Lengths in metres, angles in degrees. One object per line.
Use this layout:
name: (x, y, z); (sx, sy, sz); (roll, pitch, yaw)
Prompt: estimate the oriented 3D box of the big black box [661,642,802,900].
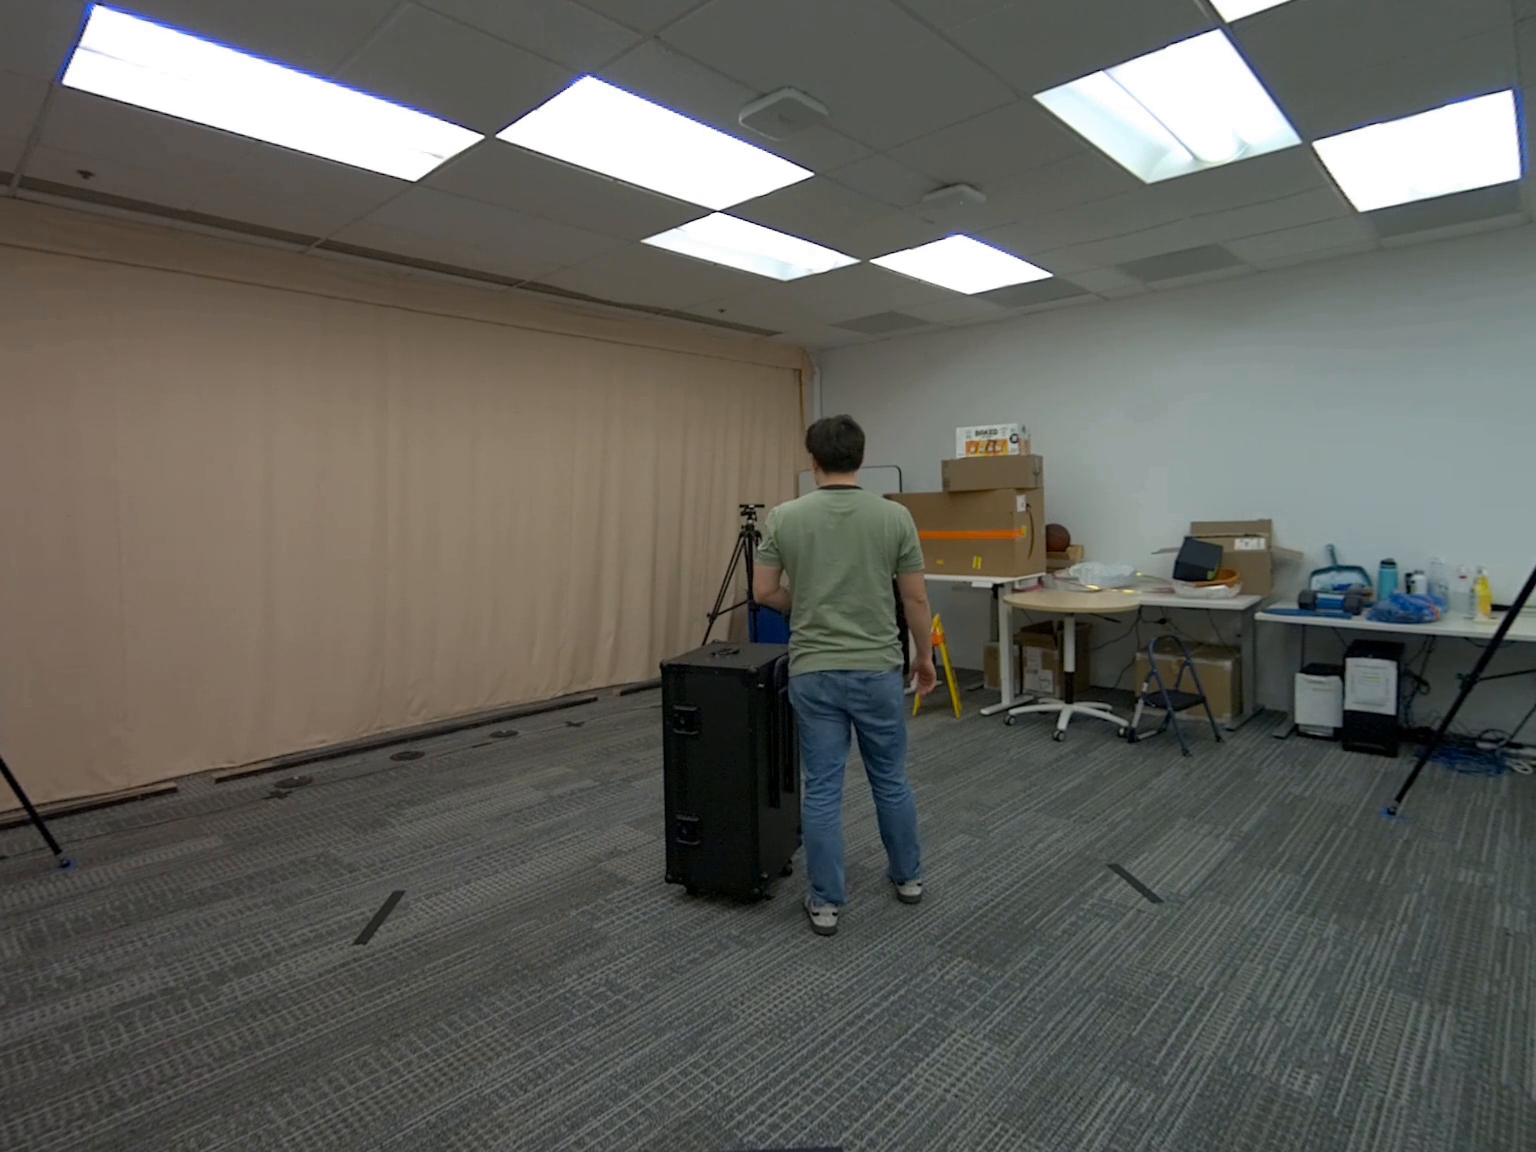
big black box: (-0.109, 0.703, 3.098); (0.405, 0.859, 0.511); (1, 4, 21)
